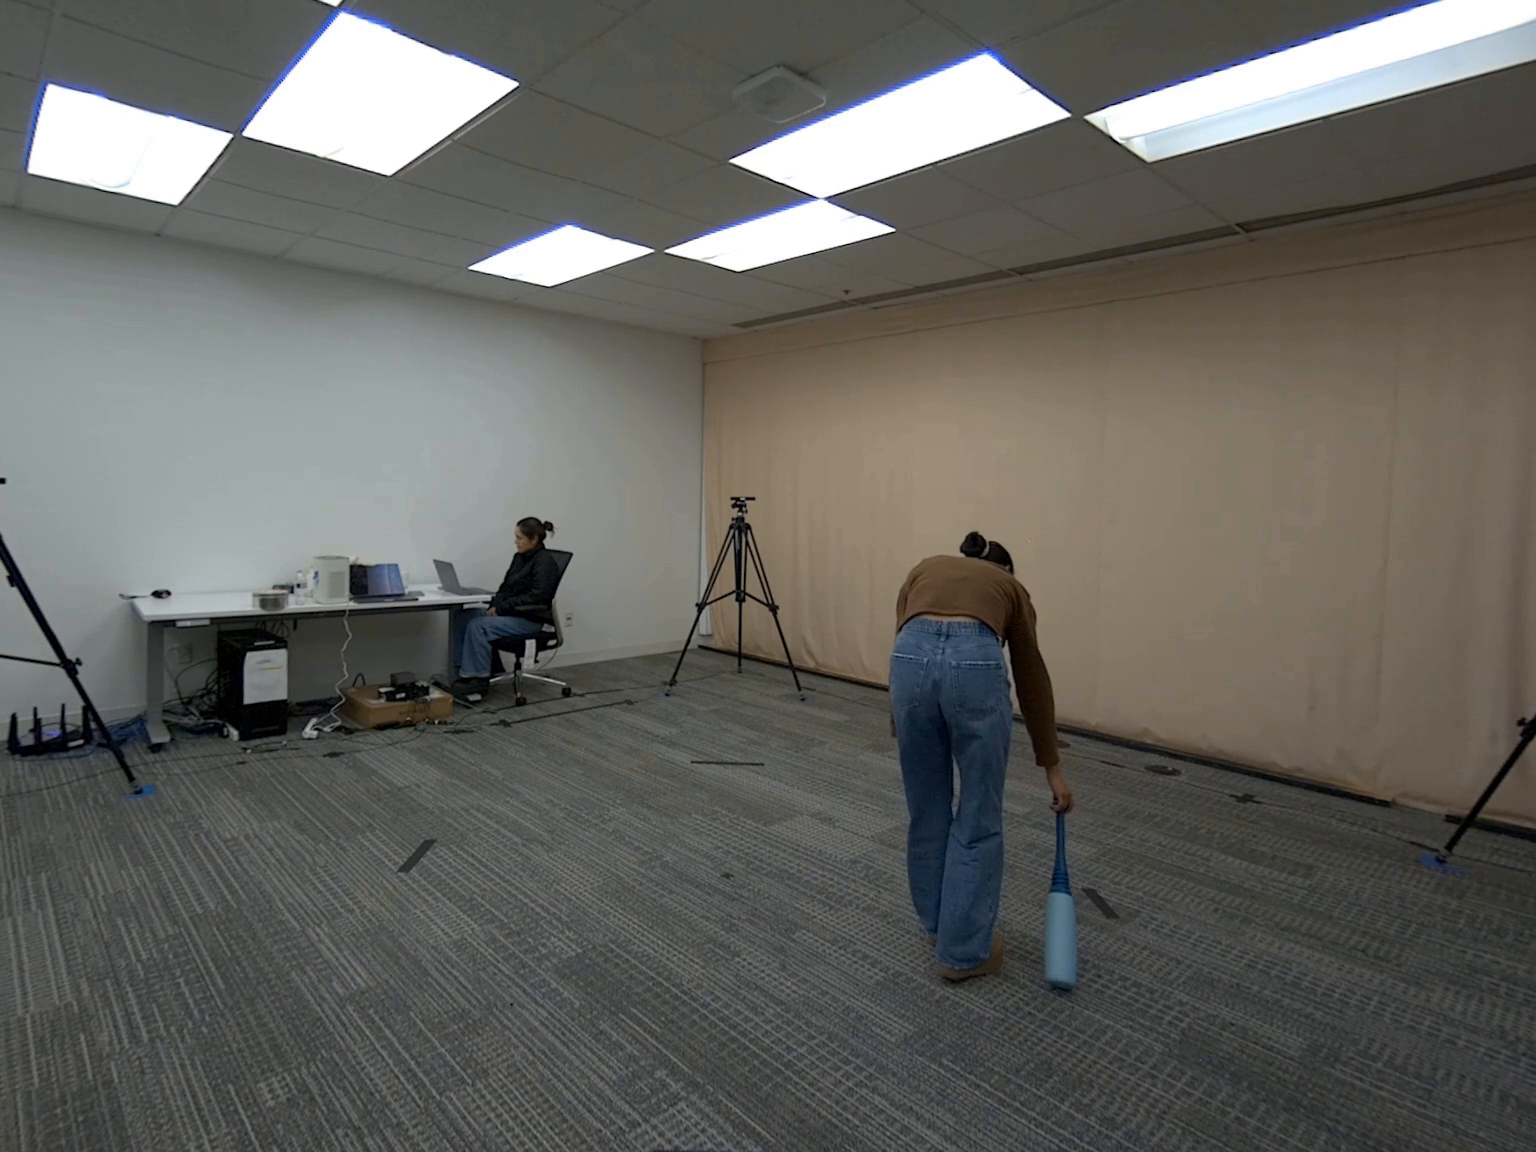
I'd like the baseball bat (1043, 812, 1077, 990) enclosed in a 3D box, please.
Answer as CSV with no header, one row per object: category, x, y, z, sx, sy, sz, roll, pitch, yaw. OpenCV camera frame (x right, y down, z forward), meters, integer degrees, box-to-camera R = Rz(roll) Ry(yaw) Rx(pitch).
baseball bat,0.880,0.957,2.553,0.089,0.551,0.087,10,-34,5
